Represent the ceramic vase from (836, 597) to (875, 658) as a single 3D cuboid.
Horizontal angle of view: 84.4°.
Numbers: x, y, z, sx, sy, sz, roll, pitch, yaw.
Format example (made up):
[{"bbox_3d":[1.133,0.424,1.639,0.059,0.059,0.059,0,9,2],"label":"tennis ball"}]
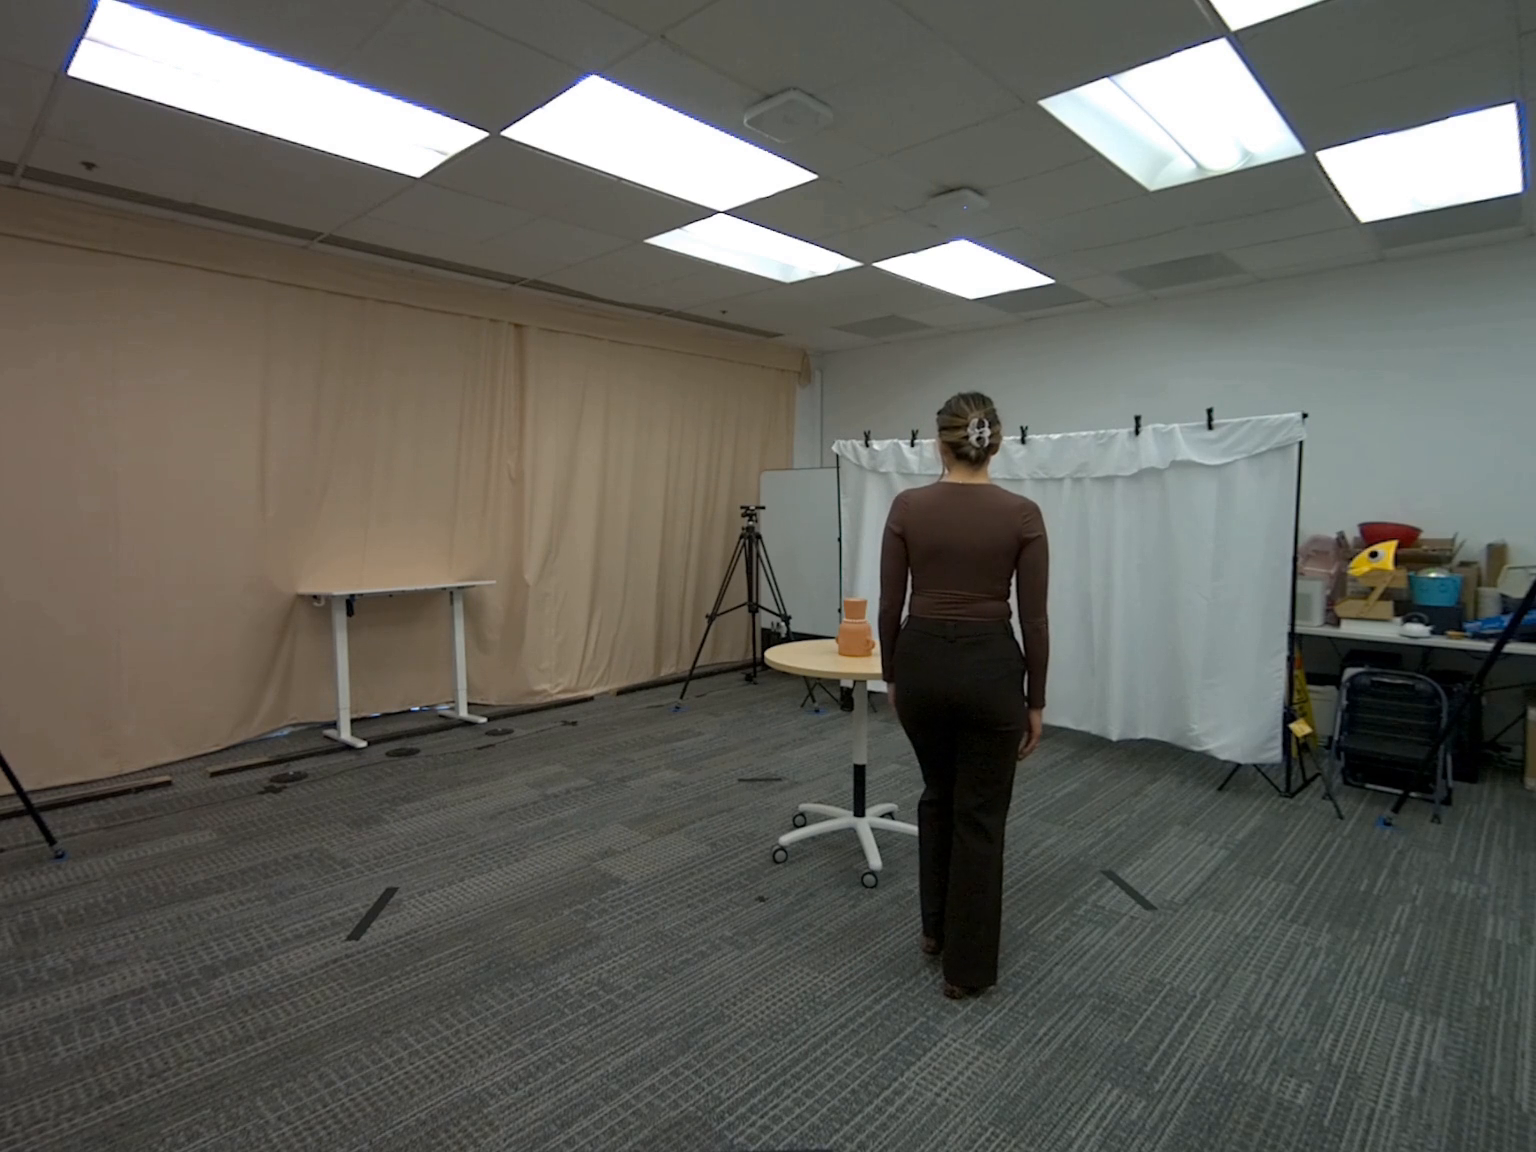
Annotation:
[{"bbox_3d":[0.351,0.203,3.367,0.160,0.219,0.133,0,2,8],"label":"ceramic vase"}]
